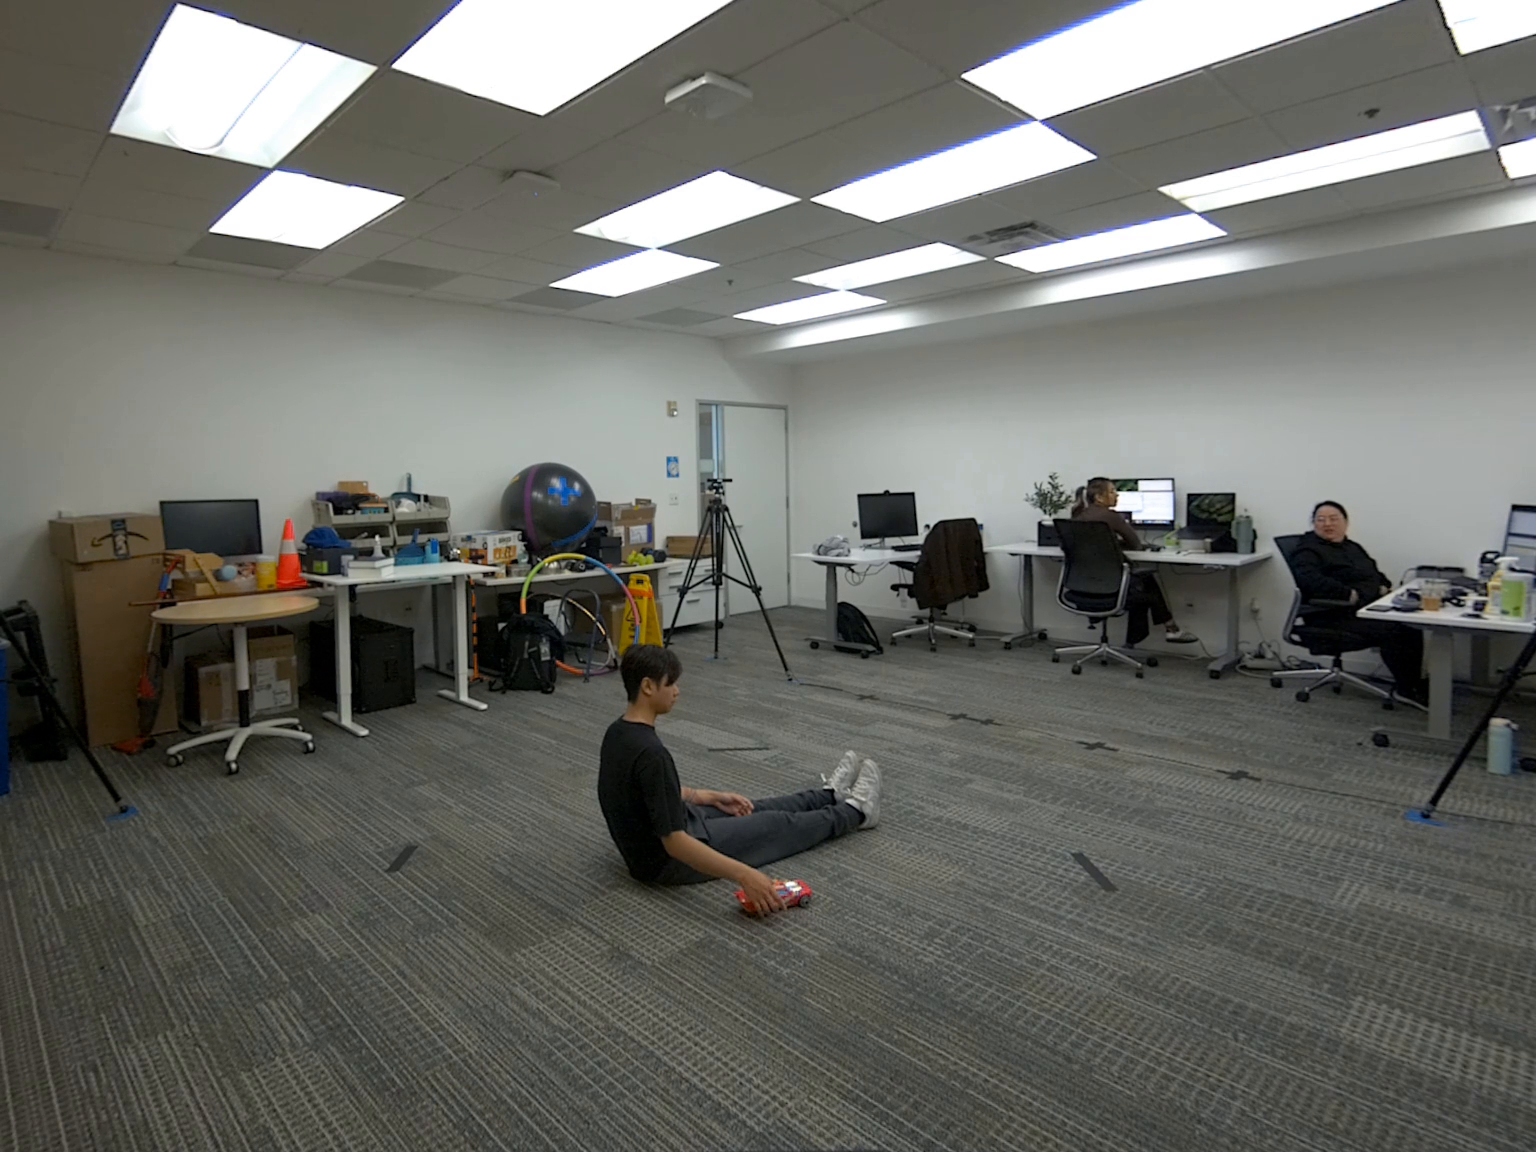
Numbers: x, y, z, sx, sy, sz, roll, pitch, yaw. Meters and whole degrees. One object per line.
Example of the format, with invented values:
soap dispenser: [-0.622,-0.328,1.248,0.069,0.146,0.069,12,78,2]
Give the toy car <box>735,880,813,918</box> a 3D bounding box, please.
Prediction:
toy car: [0.012,1.049,2.786,0.249,0.083,0.133,5,3,-21]
